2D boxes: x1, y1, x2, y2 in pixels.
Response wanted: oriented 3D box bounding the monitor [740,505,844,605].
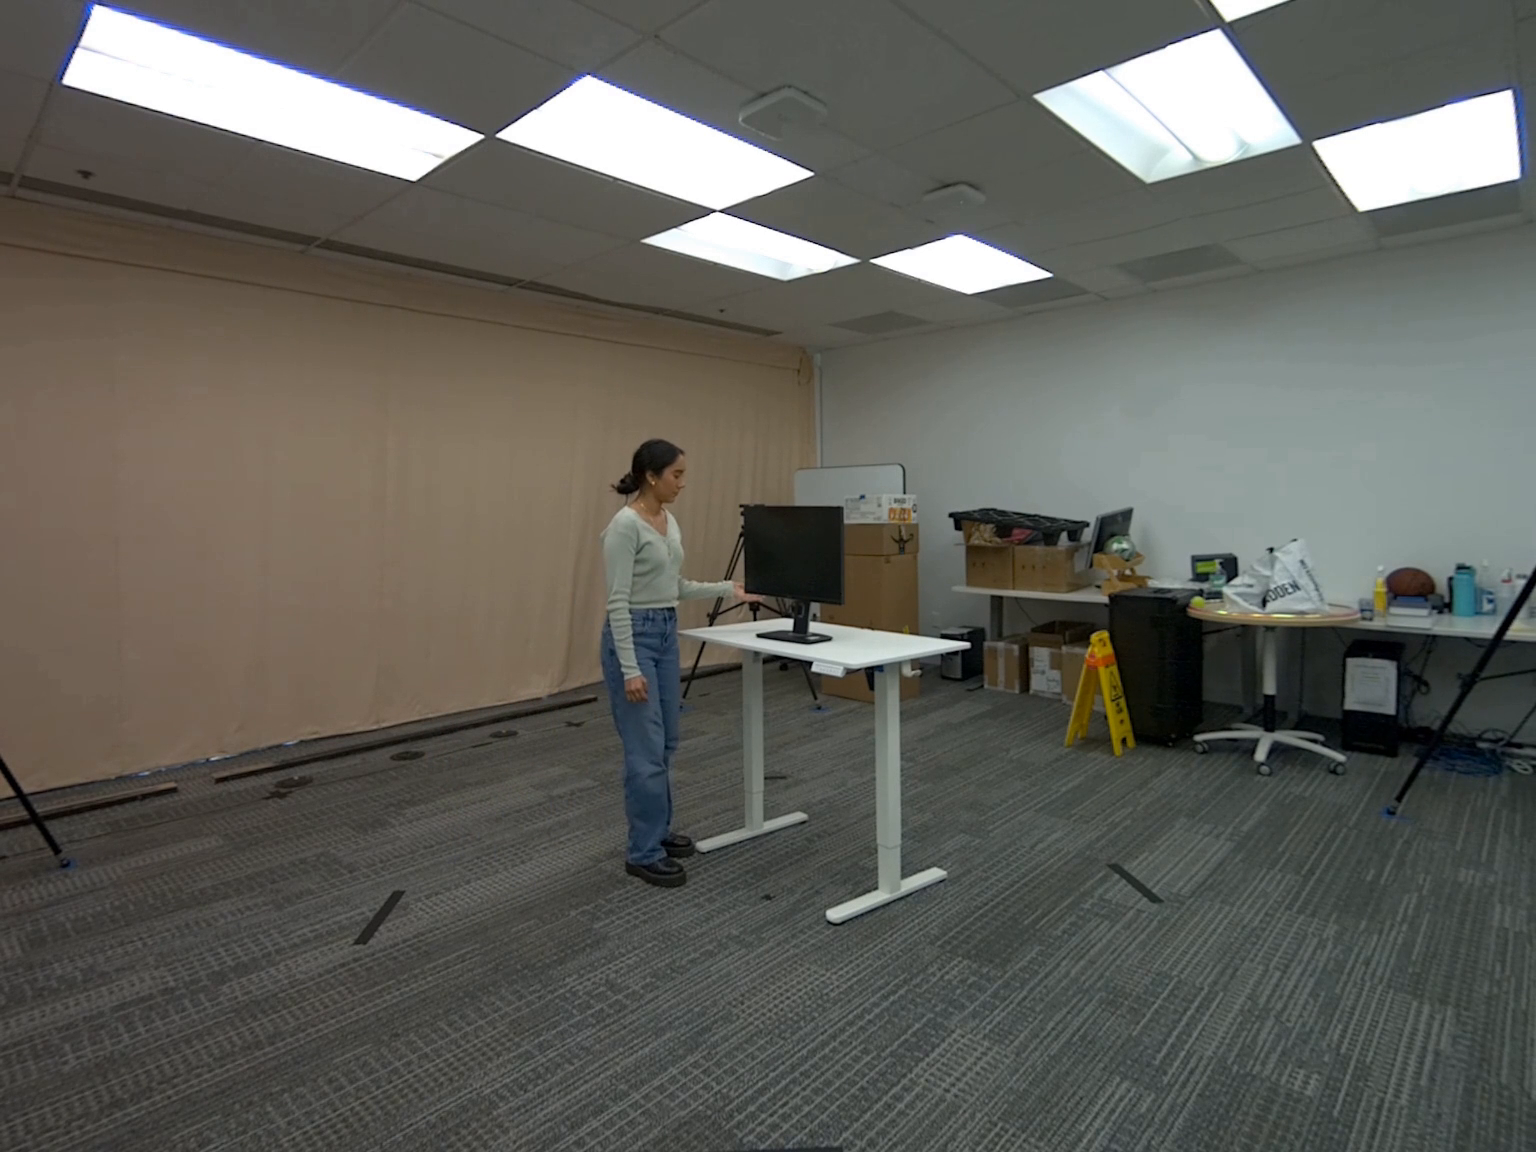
[{"bbox_3d":[0.110,-0.006,3.183,0.182,0.520,0.557,-10,10,-41],"label":"monitor"}]
